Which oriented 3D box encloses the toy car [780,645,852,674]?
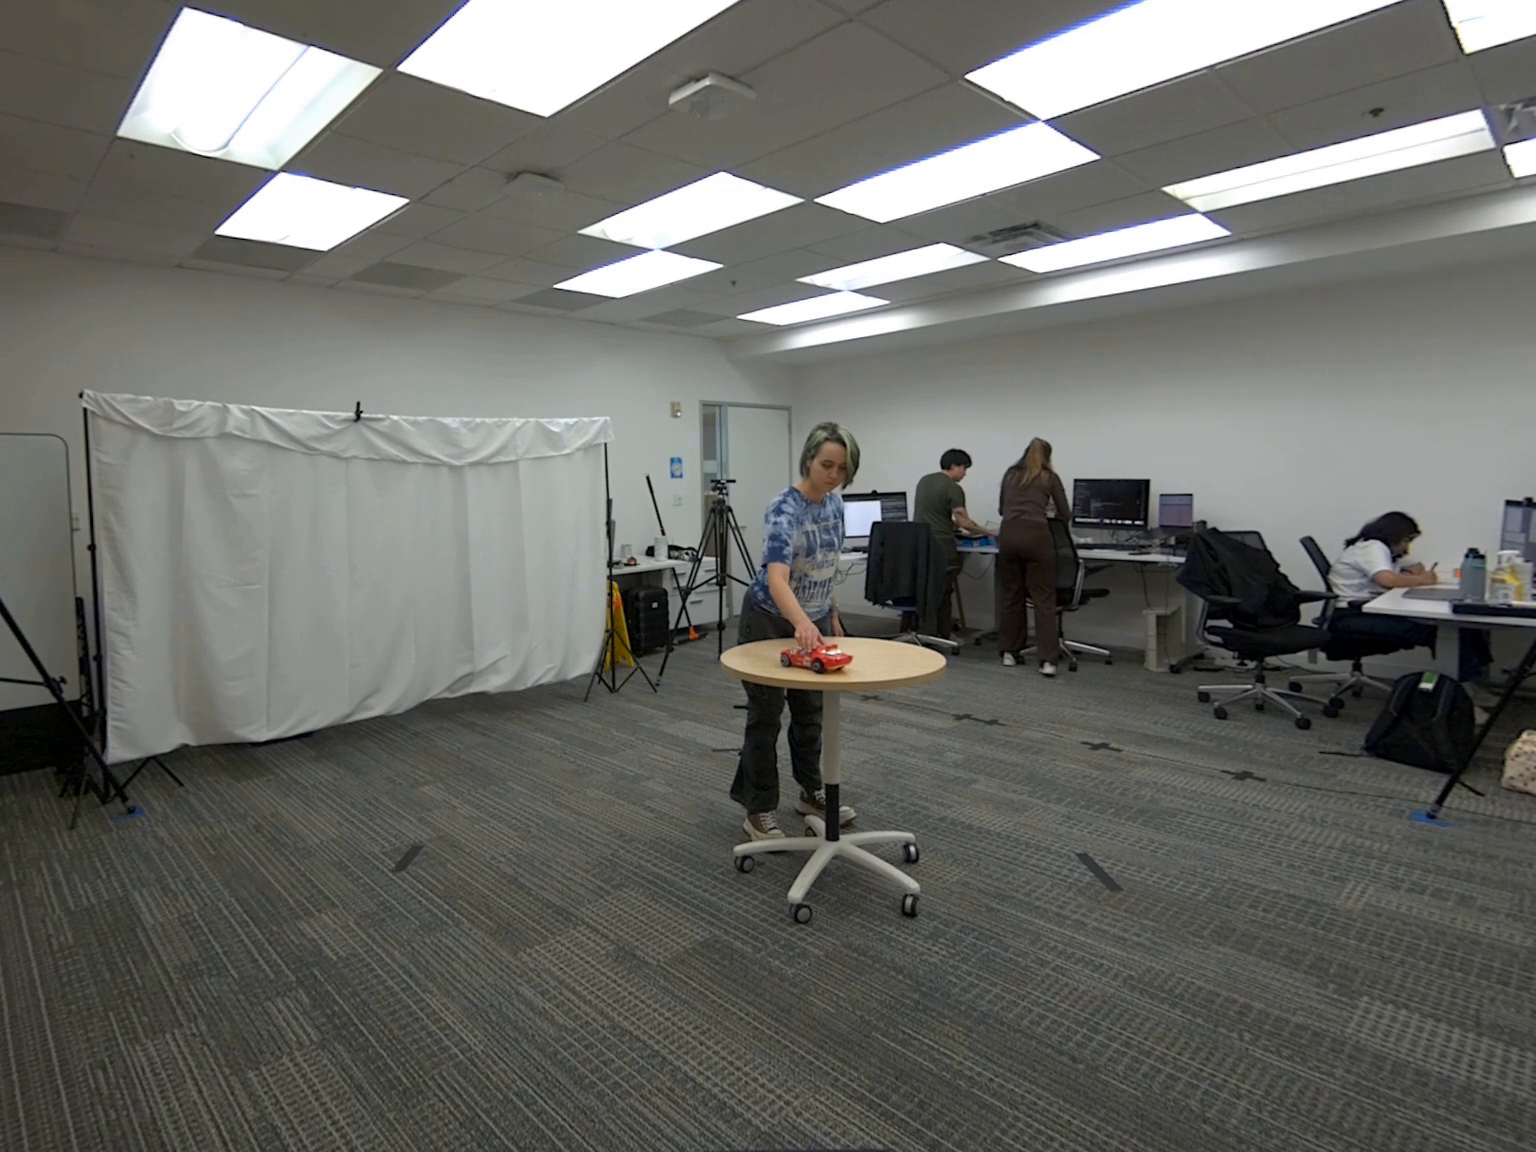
[{"bbox_3d":[0.160,0.270,2.743,0.127,0.083,0.260,-4,-5,-42],"label":"toy car"}]
